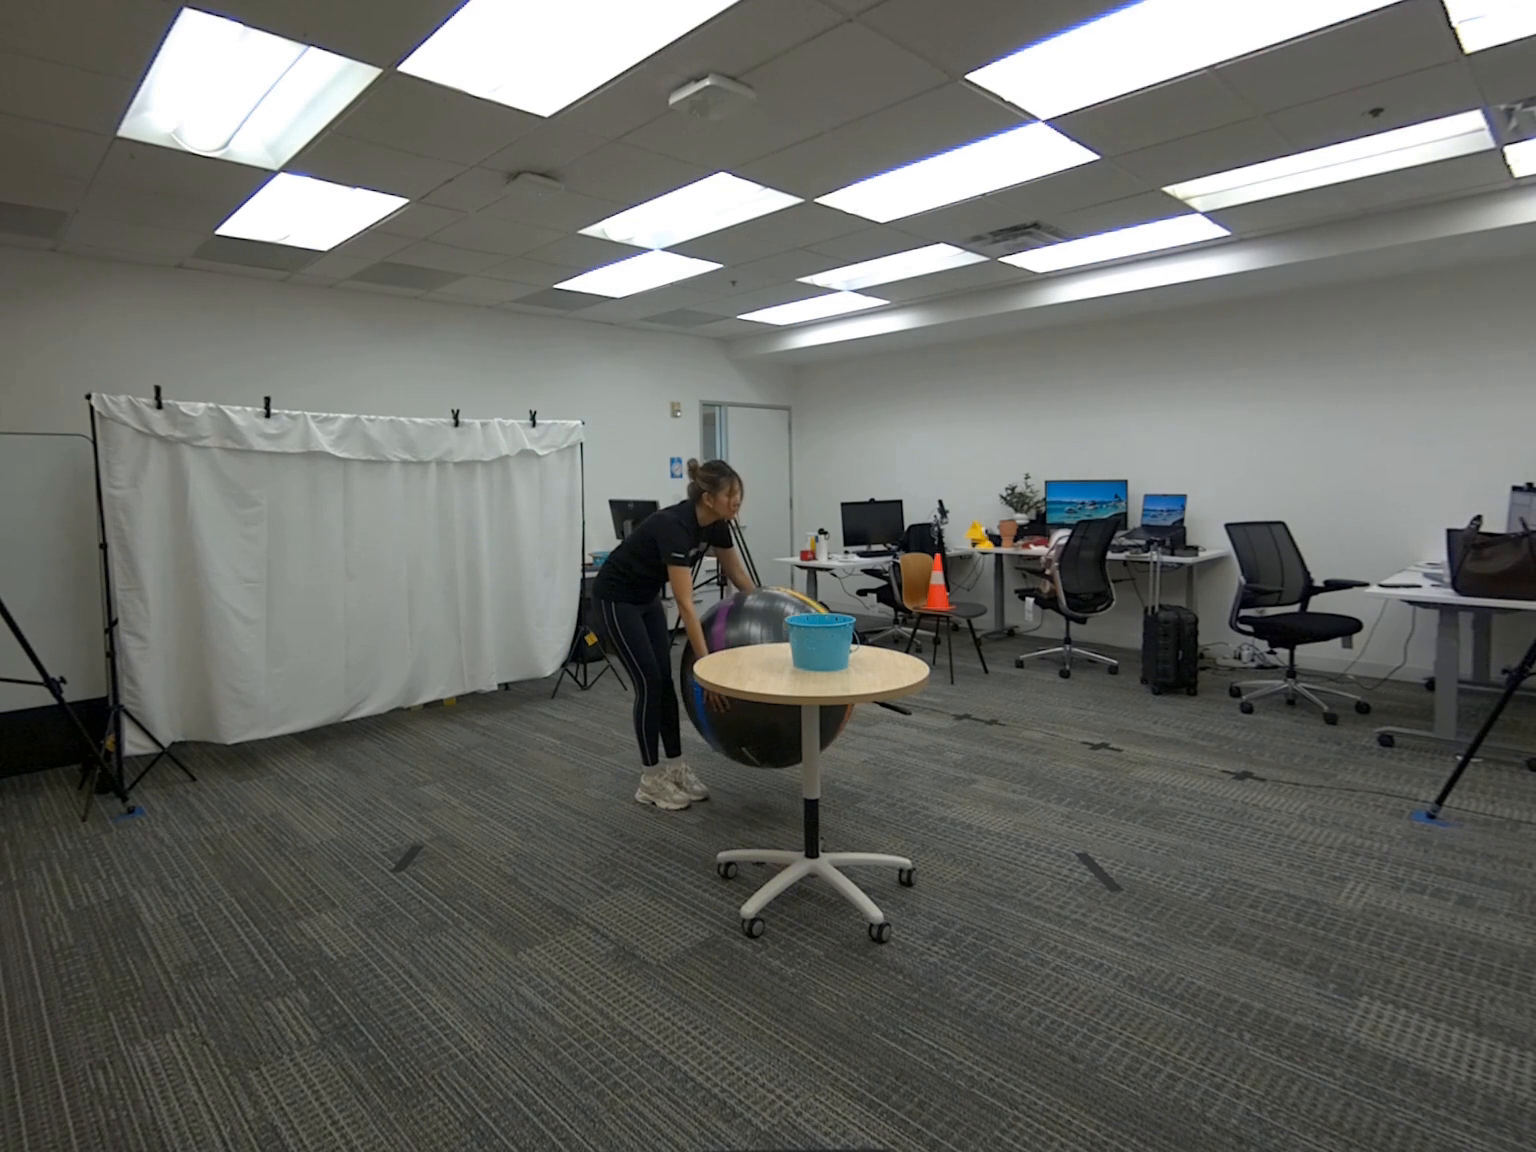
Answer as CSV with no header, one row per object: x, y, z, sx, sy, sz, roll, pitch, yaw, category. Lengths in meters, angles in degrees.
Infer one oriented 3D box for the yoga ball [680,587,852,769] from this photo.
0.006,0.422,3.641,0.757,0.755,0.762,-1,5,-2,yoga ball
